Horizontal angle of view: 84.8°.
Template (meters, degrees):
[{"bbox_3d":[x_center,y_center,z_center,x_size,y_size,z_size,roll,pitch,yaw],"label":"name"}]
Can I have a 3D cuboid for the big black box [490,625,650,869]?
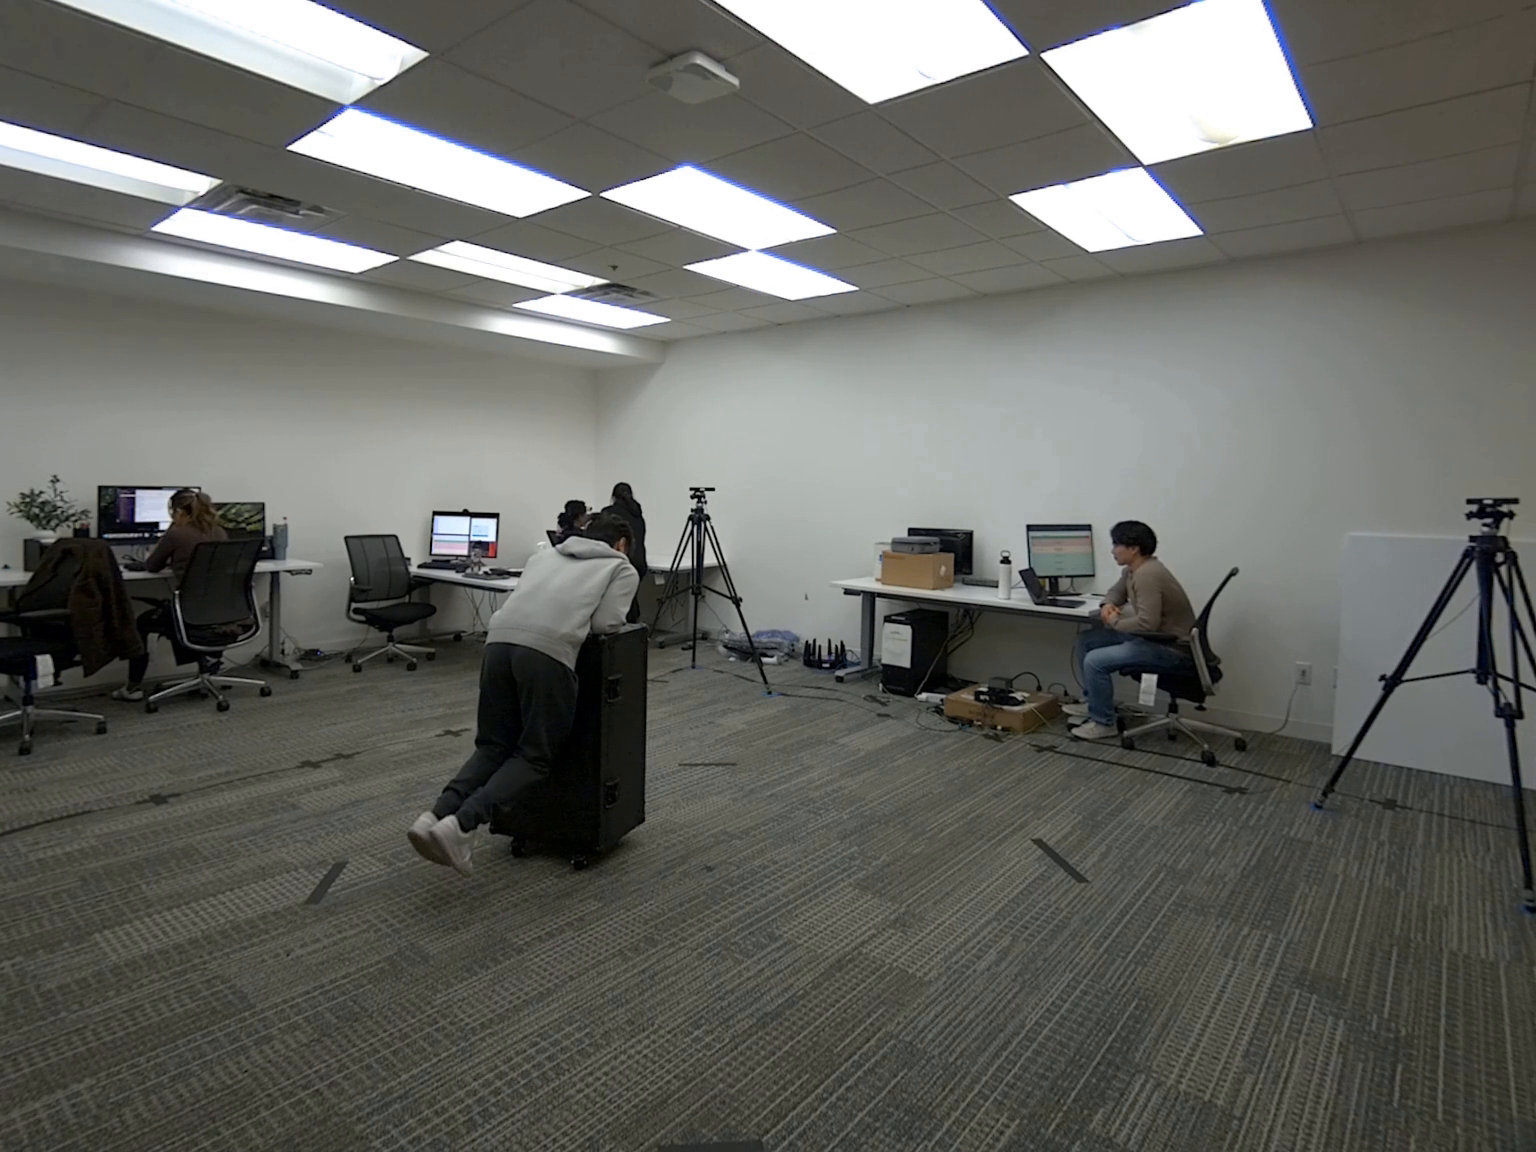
[{"bbox_3d":[-0.774,0.624,3.288,0.534,0.860,0.388,3,2,22],"label":"big black box"}]
